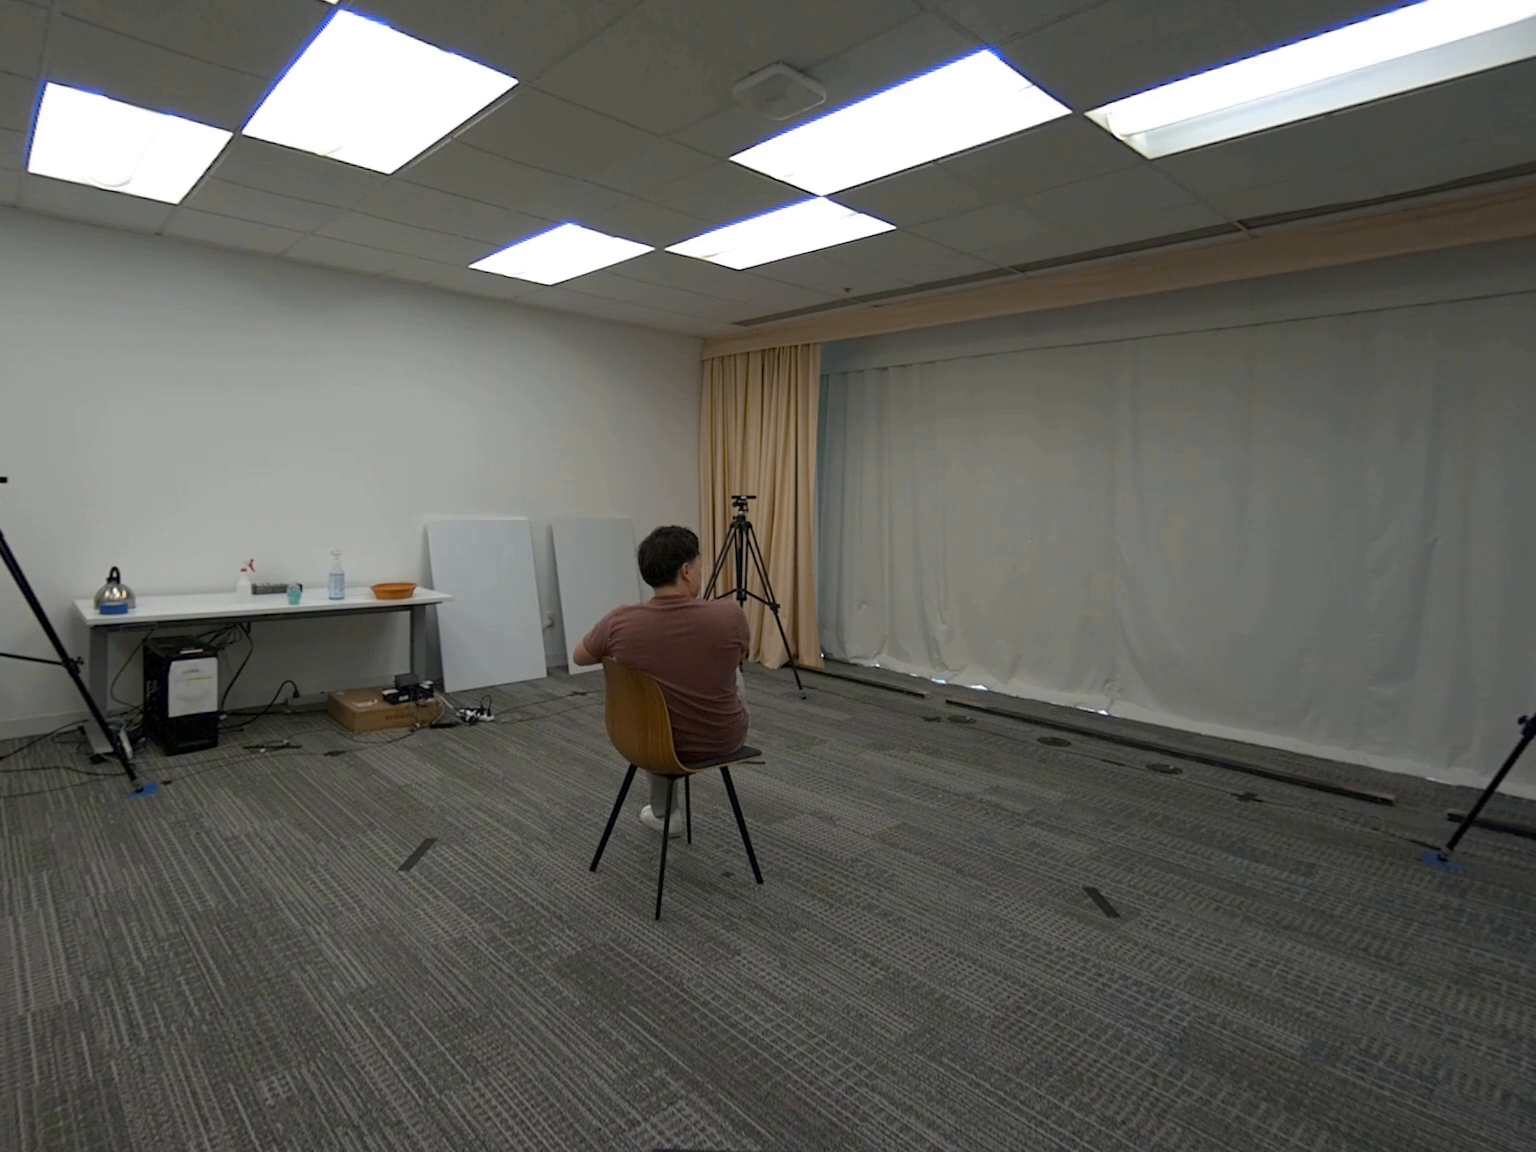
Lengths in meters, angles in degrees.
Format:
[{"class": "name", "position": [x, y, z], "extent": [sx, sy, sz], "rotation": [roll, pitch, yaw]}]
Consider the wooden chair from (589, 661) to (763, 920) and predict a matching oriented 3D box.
[{"class": "wooden chair", "position": [-0.325, 0.678, 3.041], "extent": [0.512, 0.873, 0.490], "rotation": [-7, 8, -39]}]
